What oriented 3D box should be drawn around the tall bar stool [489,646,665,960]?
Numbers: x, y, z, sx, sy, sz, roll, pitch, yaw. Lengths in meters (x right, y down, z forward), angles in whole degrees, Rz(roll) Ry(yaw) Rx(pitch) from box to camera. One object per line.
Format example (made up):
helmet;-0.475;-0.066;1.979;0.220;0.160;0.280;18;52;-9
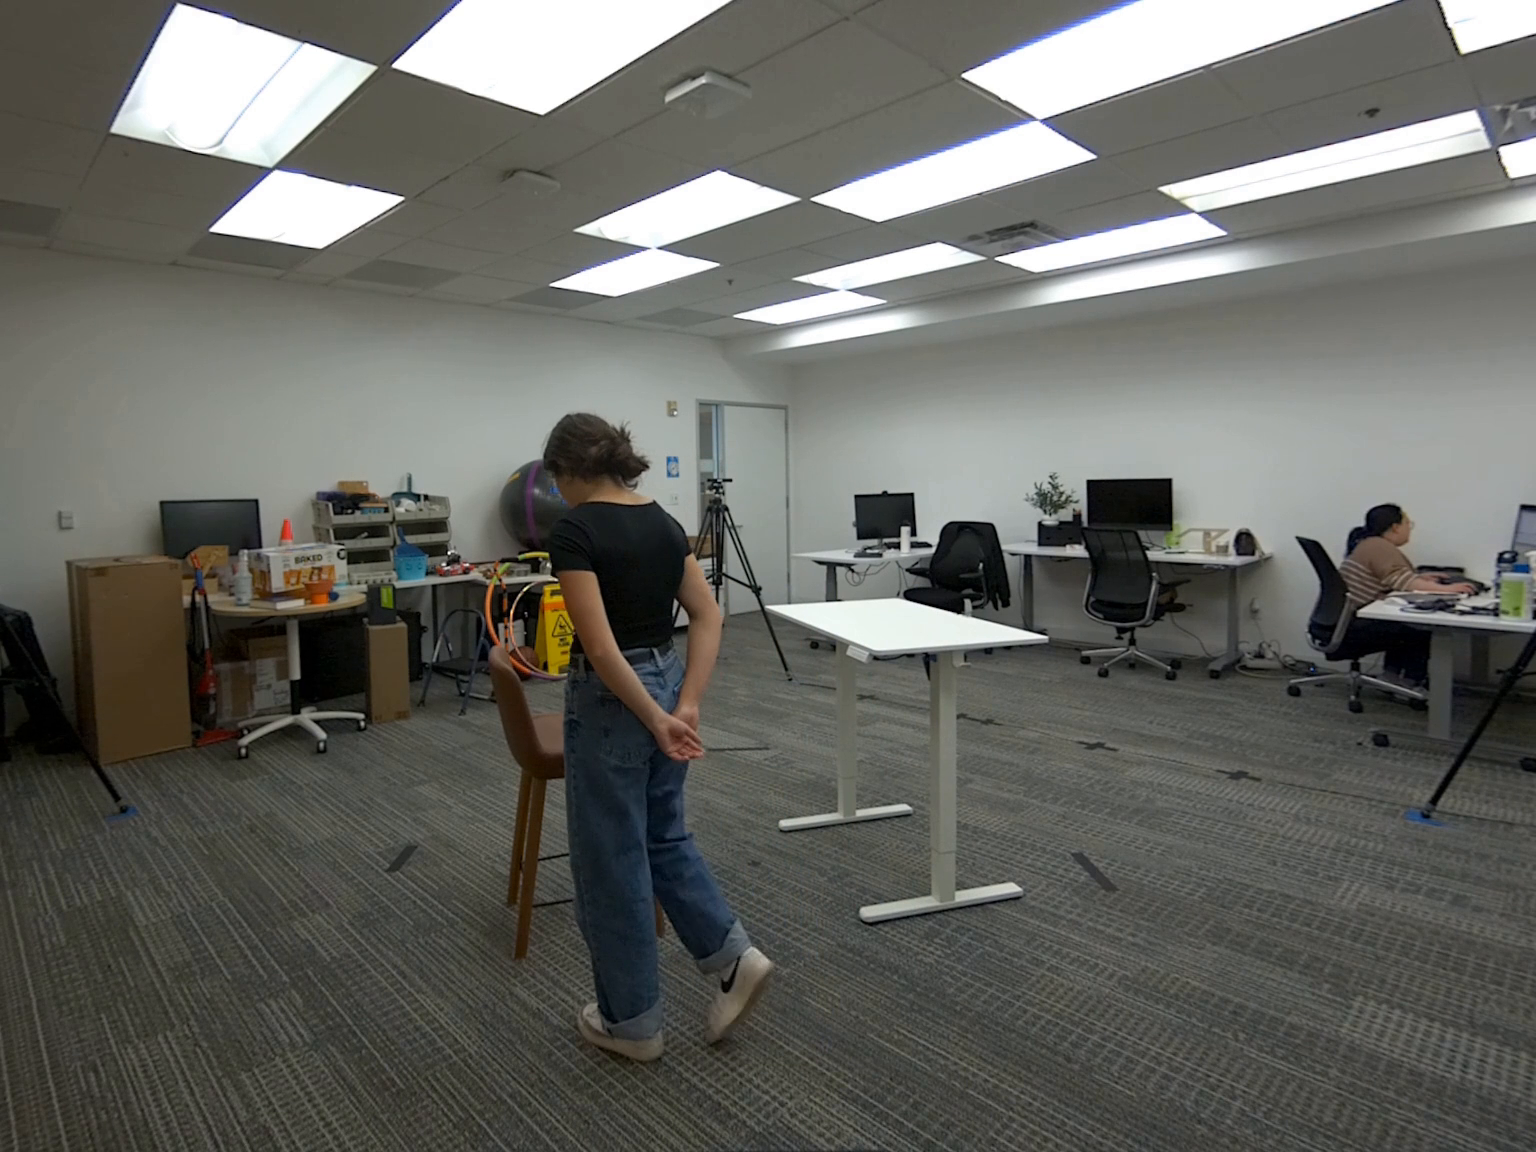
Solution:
tall bar stool;-0.606;0.662;2.720;0.460;0.885;0.466;-4;5;-20
